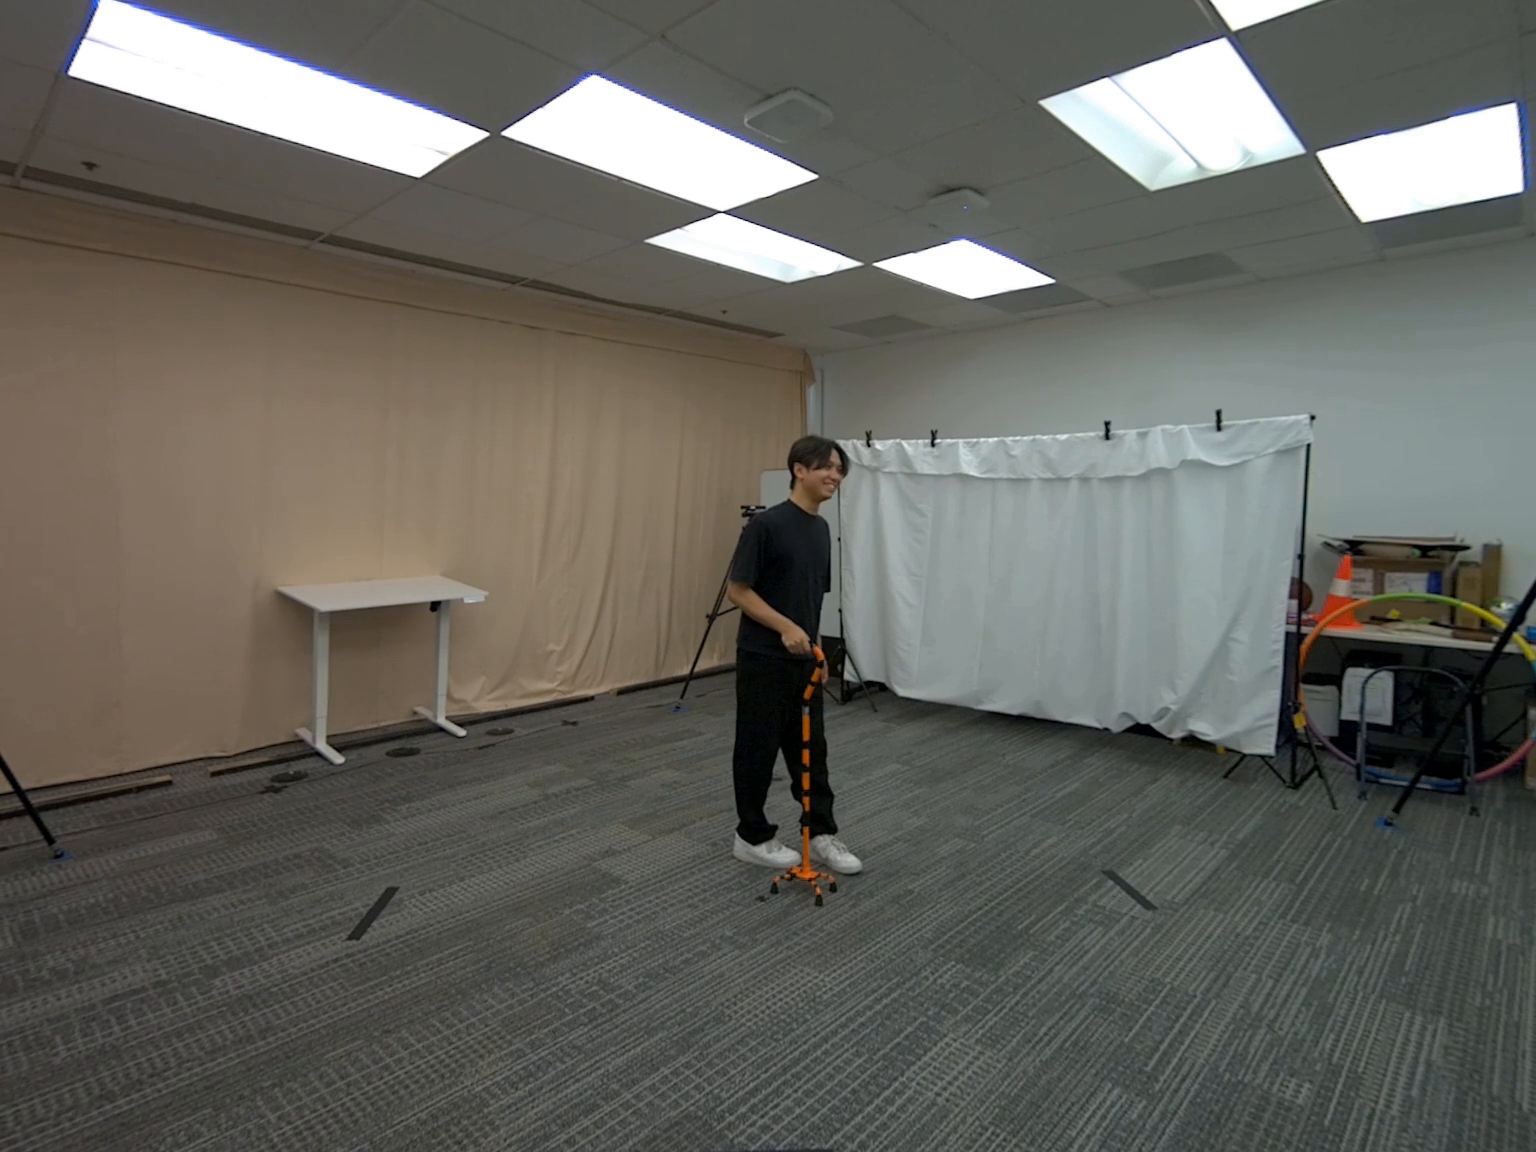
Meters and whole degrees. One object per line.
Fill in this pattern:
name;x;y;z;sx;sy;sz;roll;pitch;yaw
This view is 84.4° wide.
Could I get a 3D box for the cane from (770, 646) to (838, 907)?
cane;0.128;0.688;3.001;0.212;0.906;0.148;2;4;29
